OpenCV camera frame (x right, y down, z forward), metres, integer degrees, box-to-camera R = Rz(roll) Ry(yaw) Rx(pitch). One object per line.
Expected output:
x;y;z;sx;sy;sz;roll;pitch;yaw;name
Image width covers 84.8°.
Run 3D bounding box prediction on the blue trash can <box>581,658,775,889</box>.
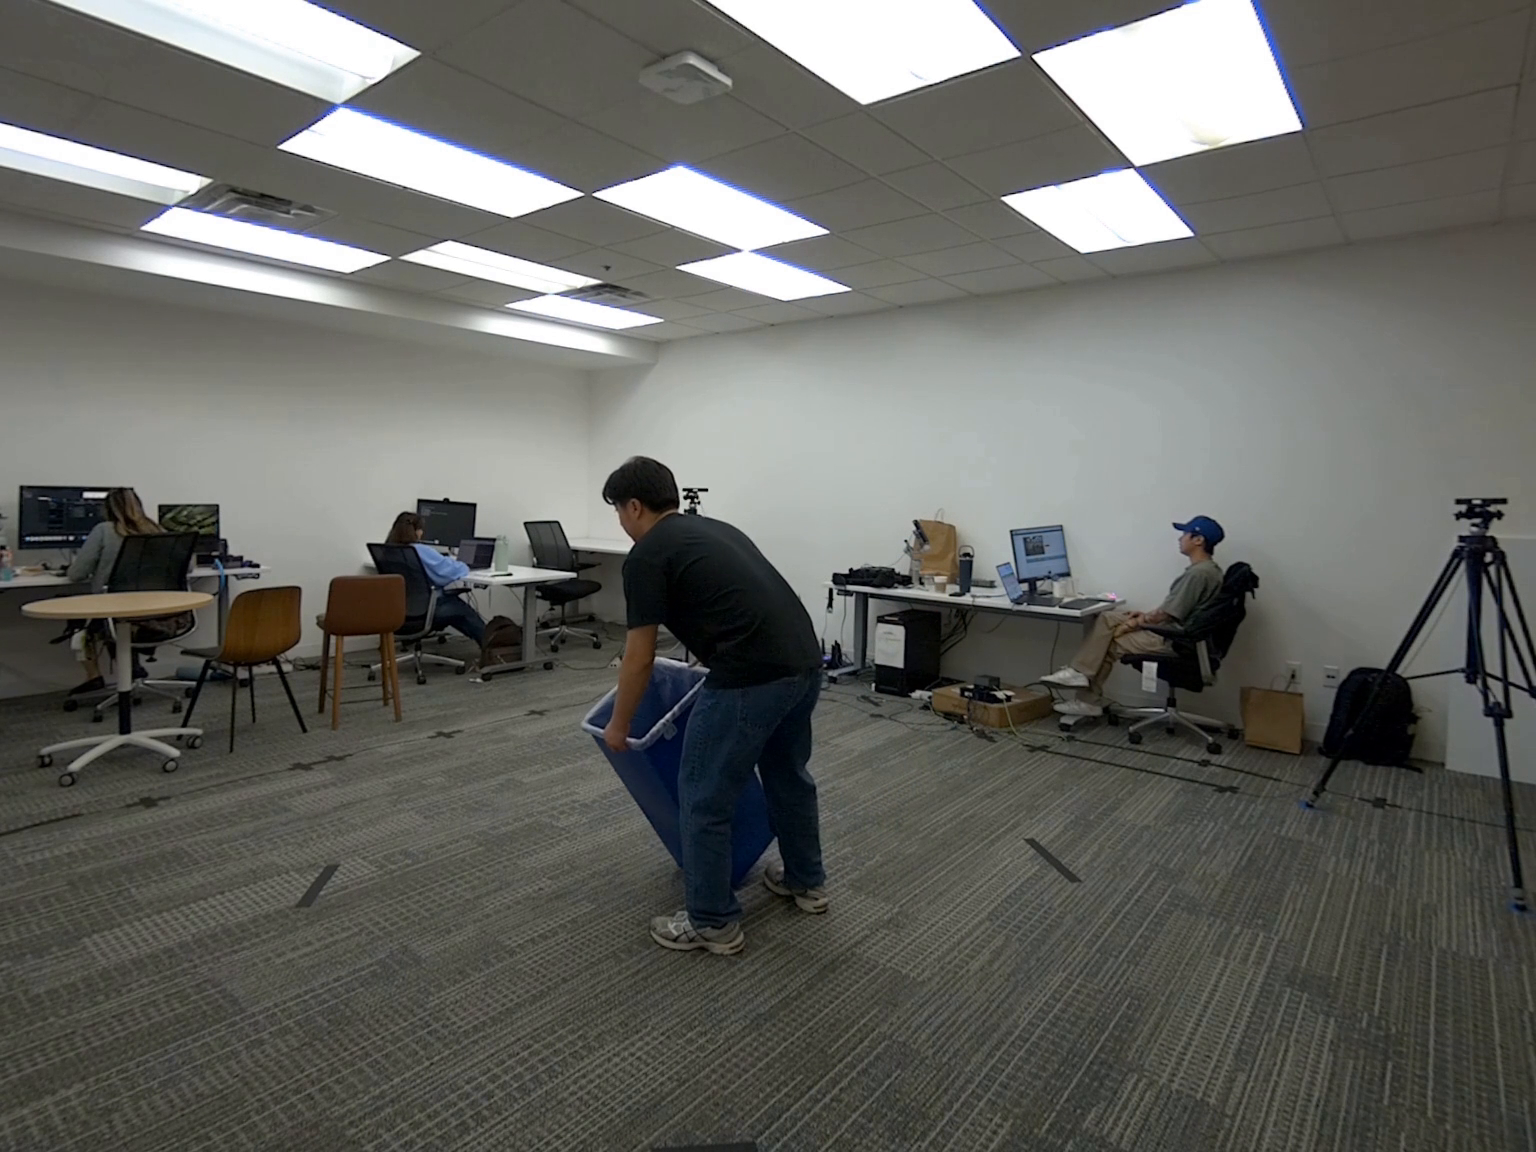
-0.297;0.696;2.988;0.386;0.694;0.376;3;34;47;blue trash can
